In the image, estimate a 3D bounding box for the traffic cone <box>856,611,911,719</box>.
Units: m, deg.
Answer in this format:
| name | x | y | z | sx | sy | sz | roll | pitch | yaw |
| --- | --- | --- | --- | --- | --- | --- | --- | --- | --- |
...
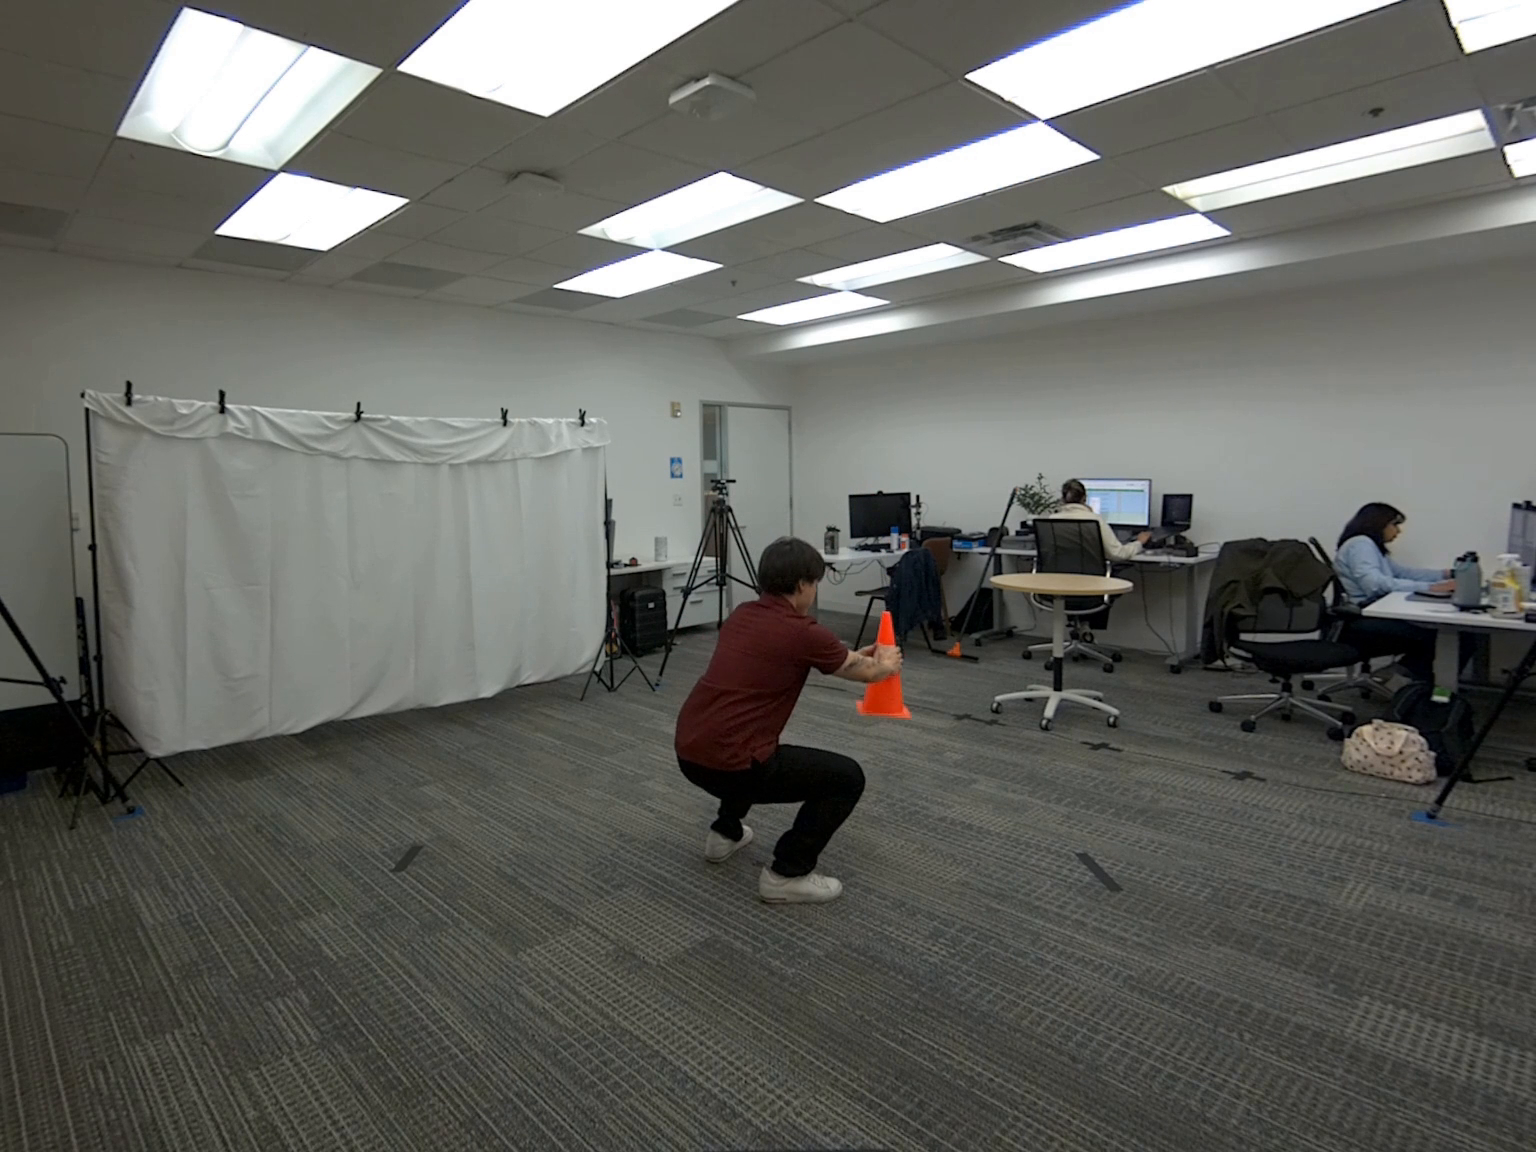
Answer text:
| name | x | y | z | sx | sy | sz | roll | pitch | yaw |
| --- | --- | --- | --- | --- | --- | --- | --- | --- | --- |
| traffic cone | 0.458 | 0.330 | 3.315 | 0.206 | 0.382 | 0.203 | 3 | 5 | 5 |
